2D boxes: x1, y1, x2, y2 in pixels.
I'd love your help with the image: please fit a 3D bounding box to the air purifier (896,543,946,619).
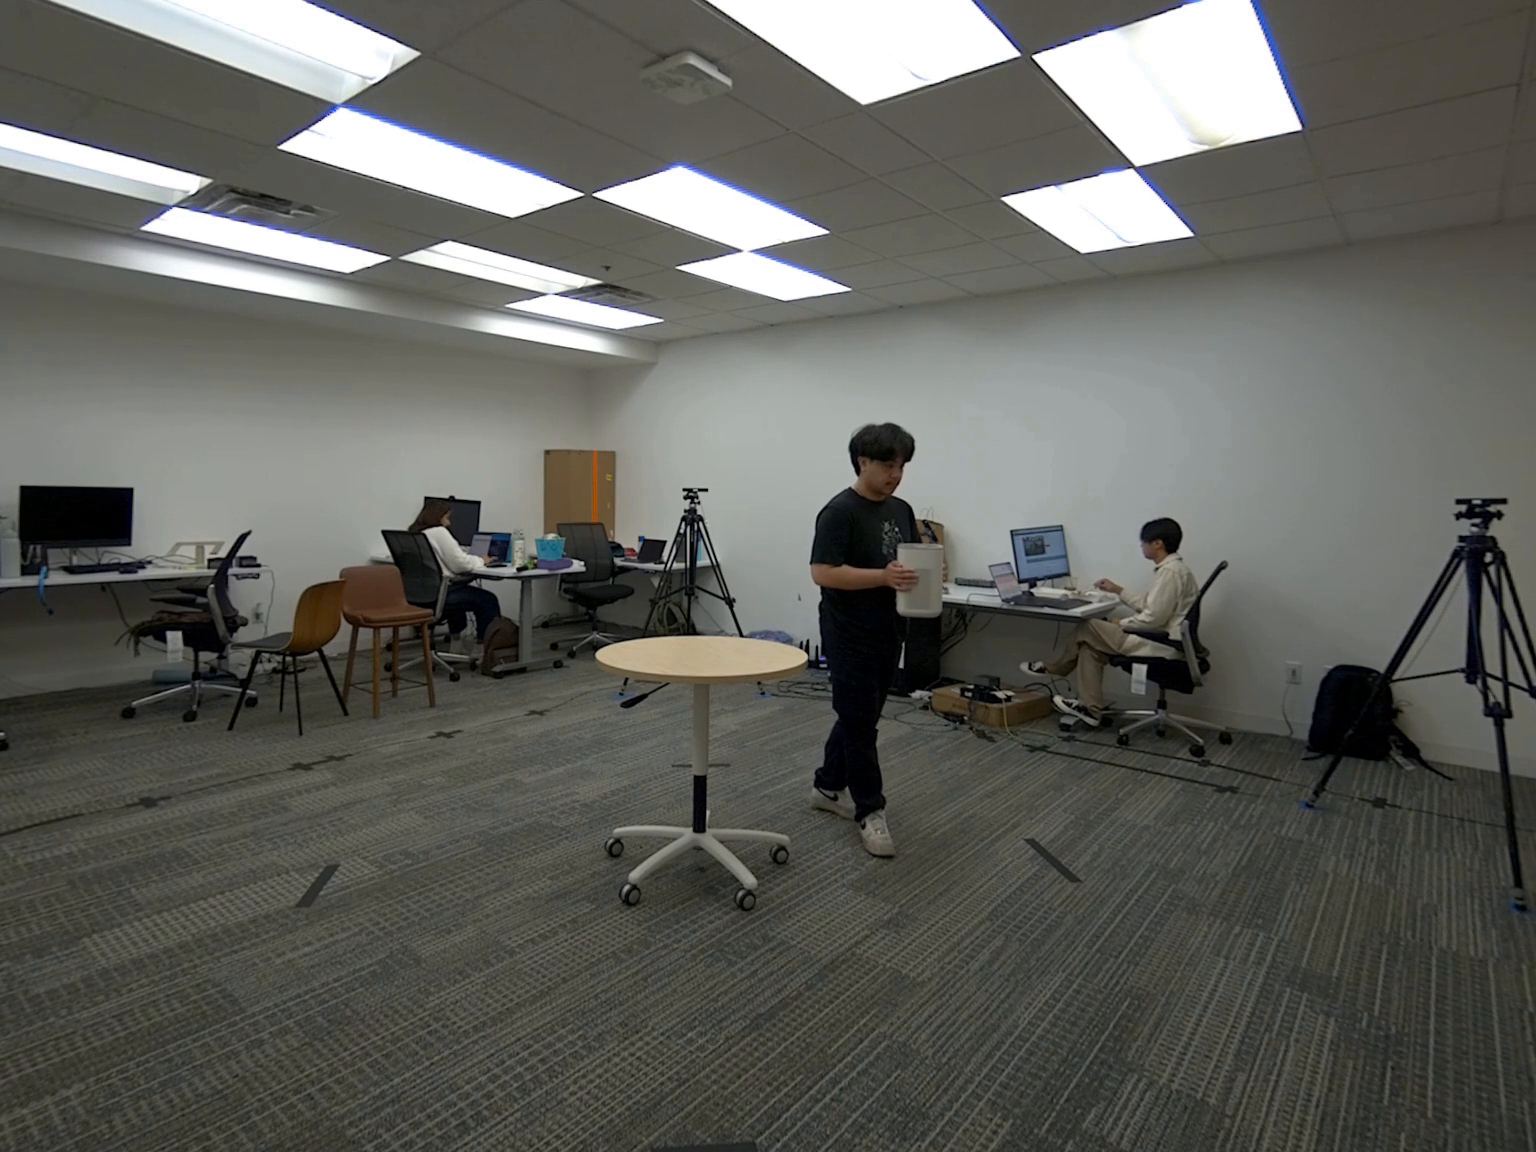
[{"bbox_3d":[0.580,0.011,3.245,0.173,0.264,0.170,2,6,6],"label":"air purifier"}]
